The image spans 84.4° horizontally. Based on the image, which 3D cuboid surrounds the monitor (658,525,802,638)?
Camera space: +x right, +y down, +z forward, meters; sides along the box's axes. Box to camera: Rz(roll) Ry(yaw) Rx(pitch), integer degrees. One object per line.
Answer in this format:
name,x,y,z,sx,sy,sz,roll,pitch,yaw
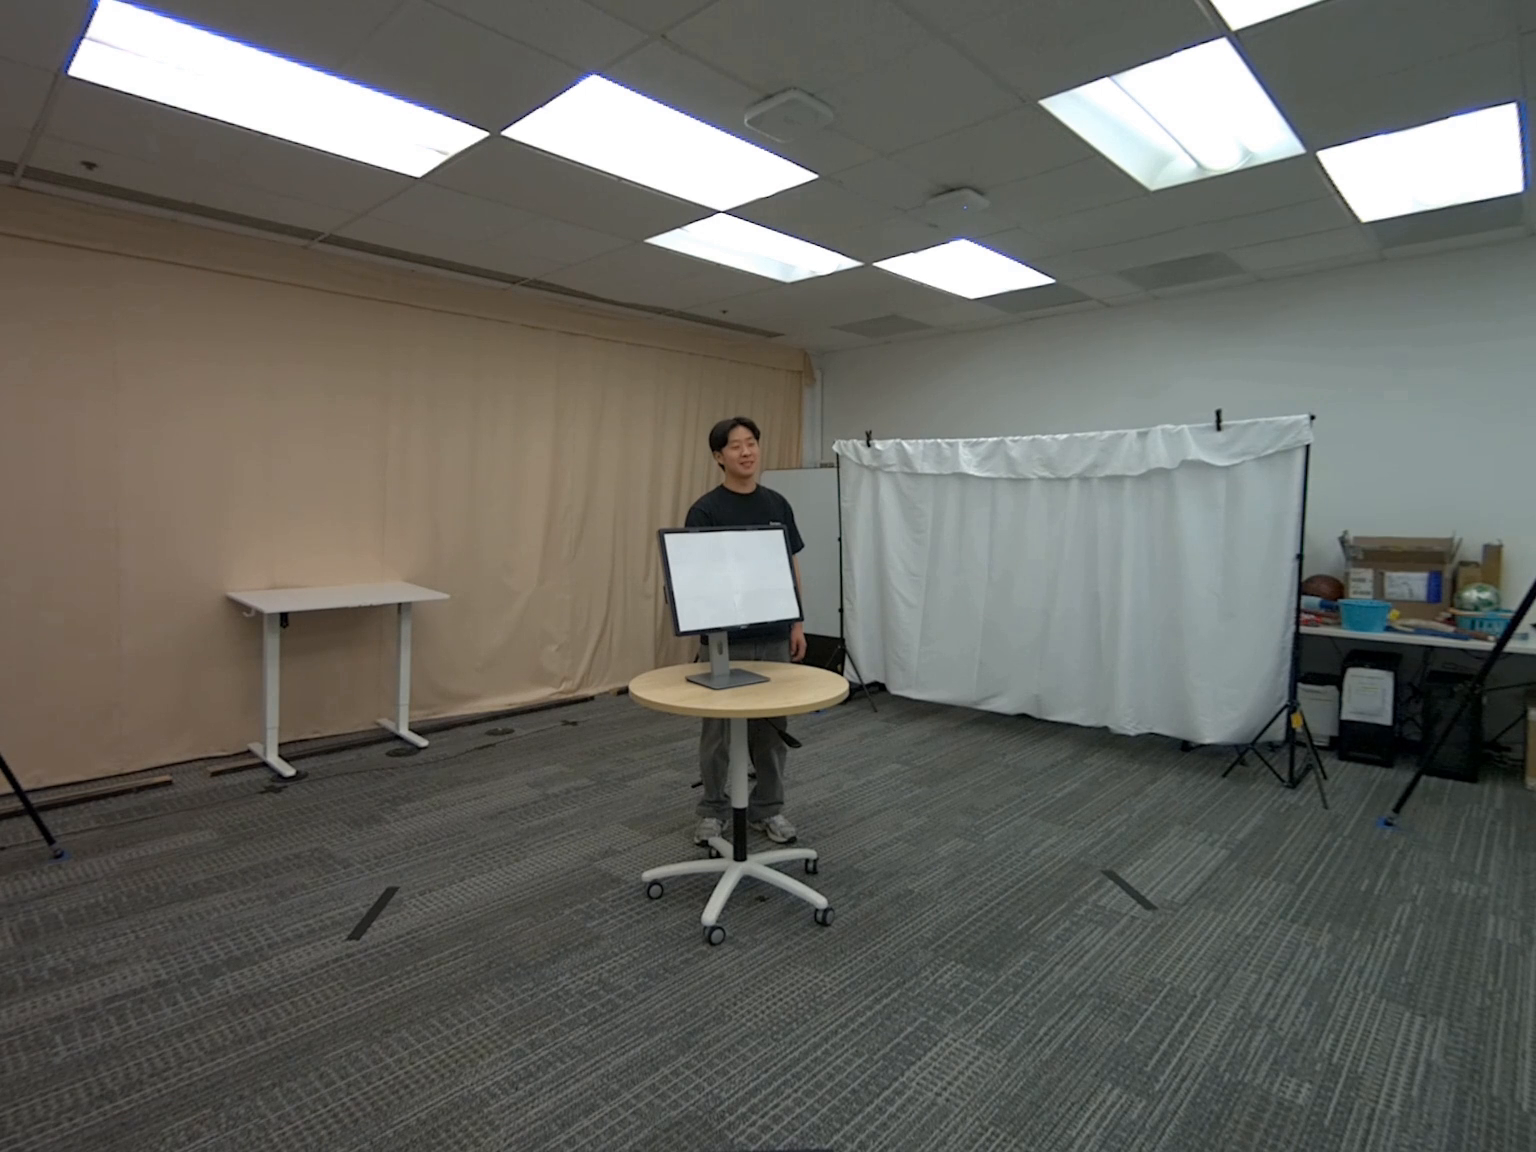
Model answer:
monitor,-0.137,0.109,2.957,0.546,0.564,0.229,-4,6,-35
